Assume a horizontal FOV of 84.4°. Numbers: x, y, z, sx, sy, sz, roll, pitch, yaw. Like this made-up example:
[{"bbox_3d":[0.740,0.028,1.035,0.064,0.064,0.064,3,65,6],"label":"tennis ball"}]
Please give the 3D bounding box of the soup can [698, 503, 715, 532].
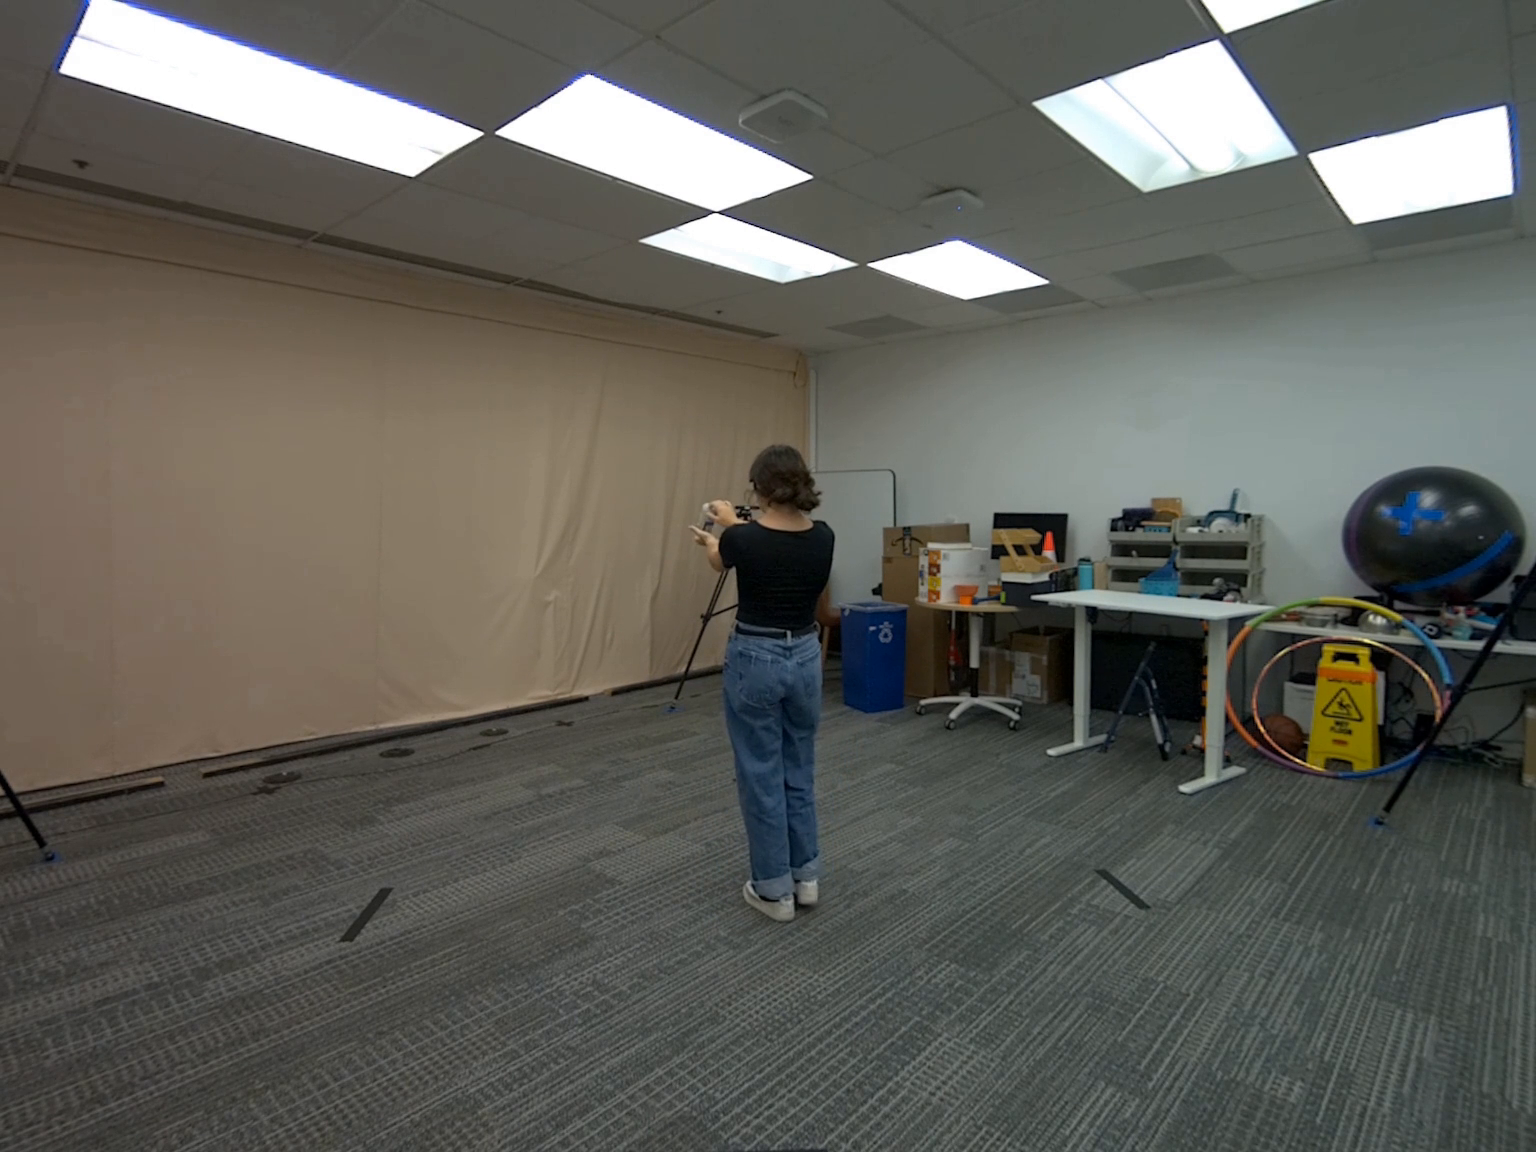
[{"bbox_3d":[-0.234,-0.219,3.314,0.066,0.121,0.068,18,15,-7],"label":"soup can"}]
